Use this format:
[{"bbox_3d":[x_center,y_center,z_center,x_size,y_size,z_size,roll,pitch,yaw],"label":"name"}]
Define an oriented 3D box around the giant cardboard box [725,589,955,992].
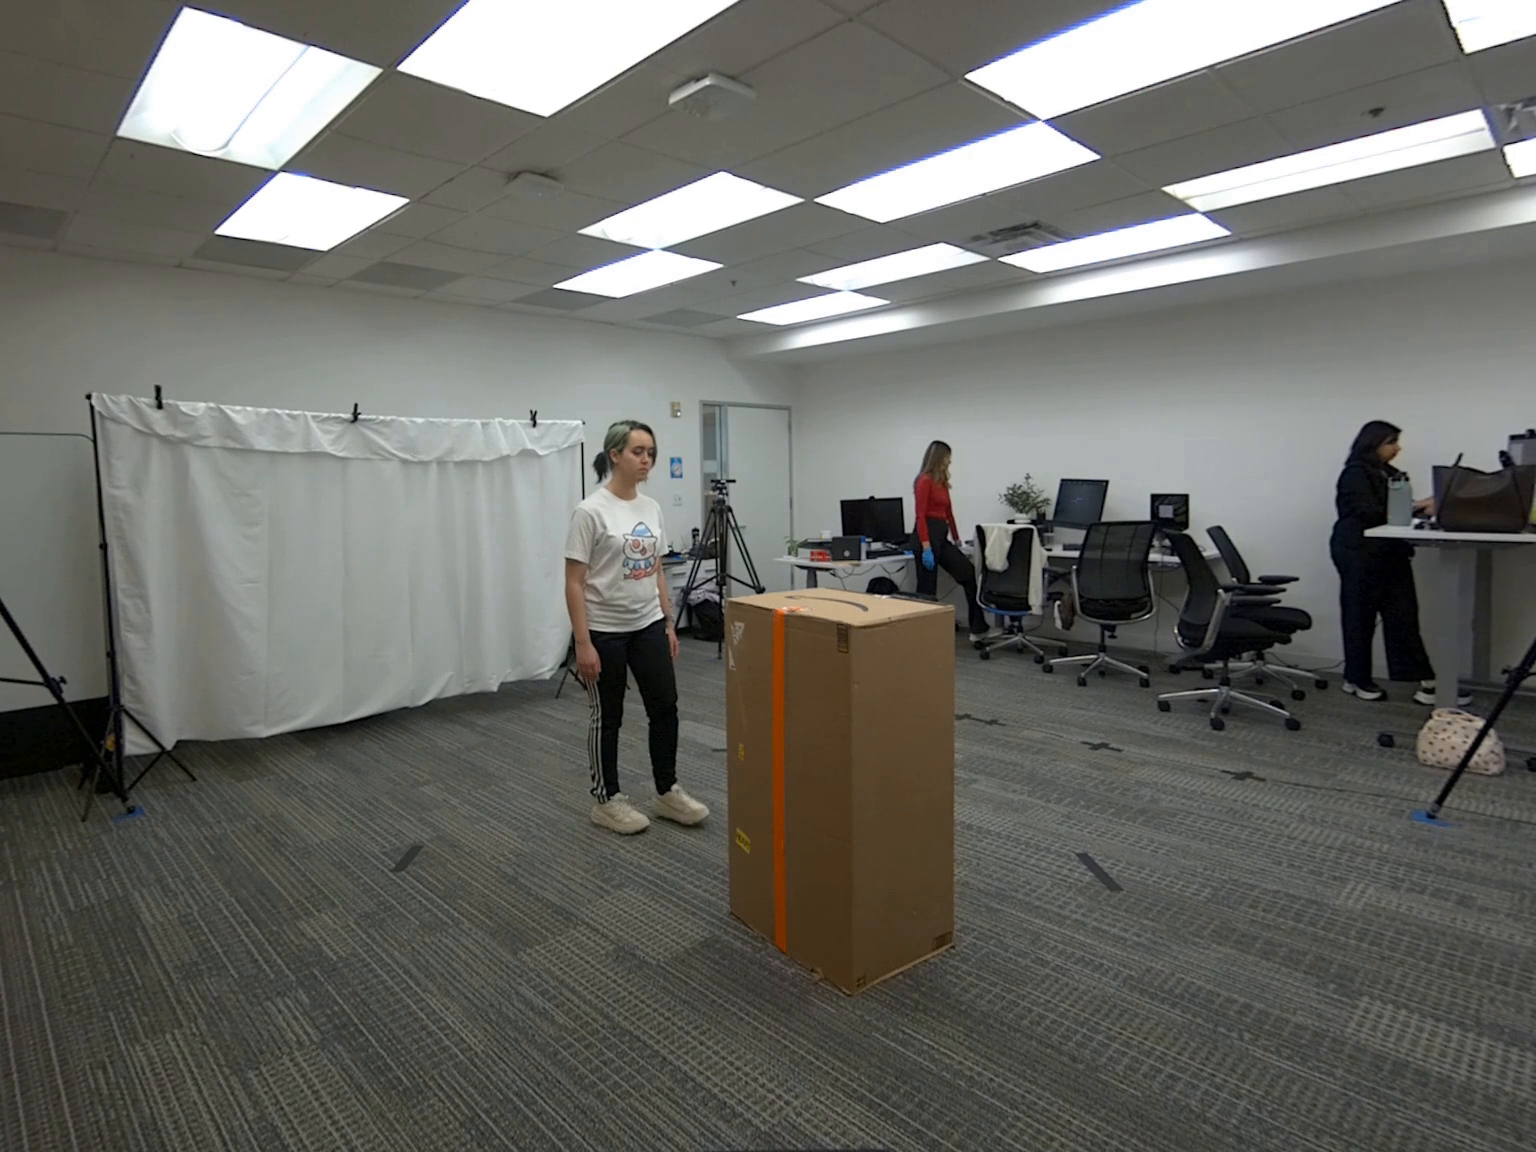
[{"bbox_3d":[0.210,0.592,2.614,0.435,1.023,0.601,-3,5,-38],"label":"giant cardboard box"}]
